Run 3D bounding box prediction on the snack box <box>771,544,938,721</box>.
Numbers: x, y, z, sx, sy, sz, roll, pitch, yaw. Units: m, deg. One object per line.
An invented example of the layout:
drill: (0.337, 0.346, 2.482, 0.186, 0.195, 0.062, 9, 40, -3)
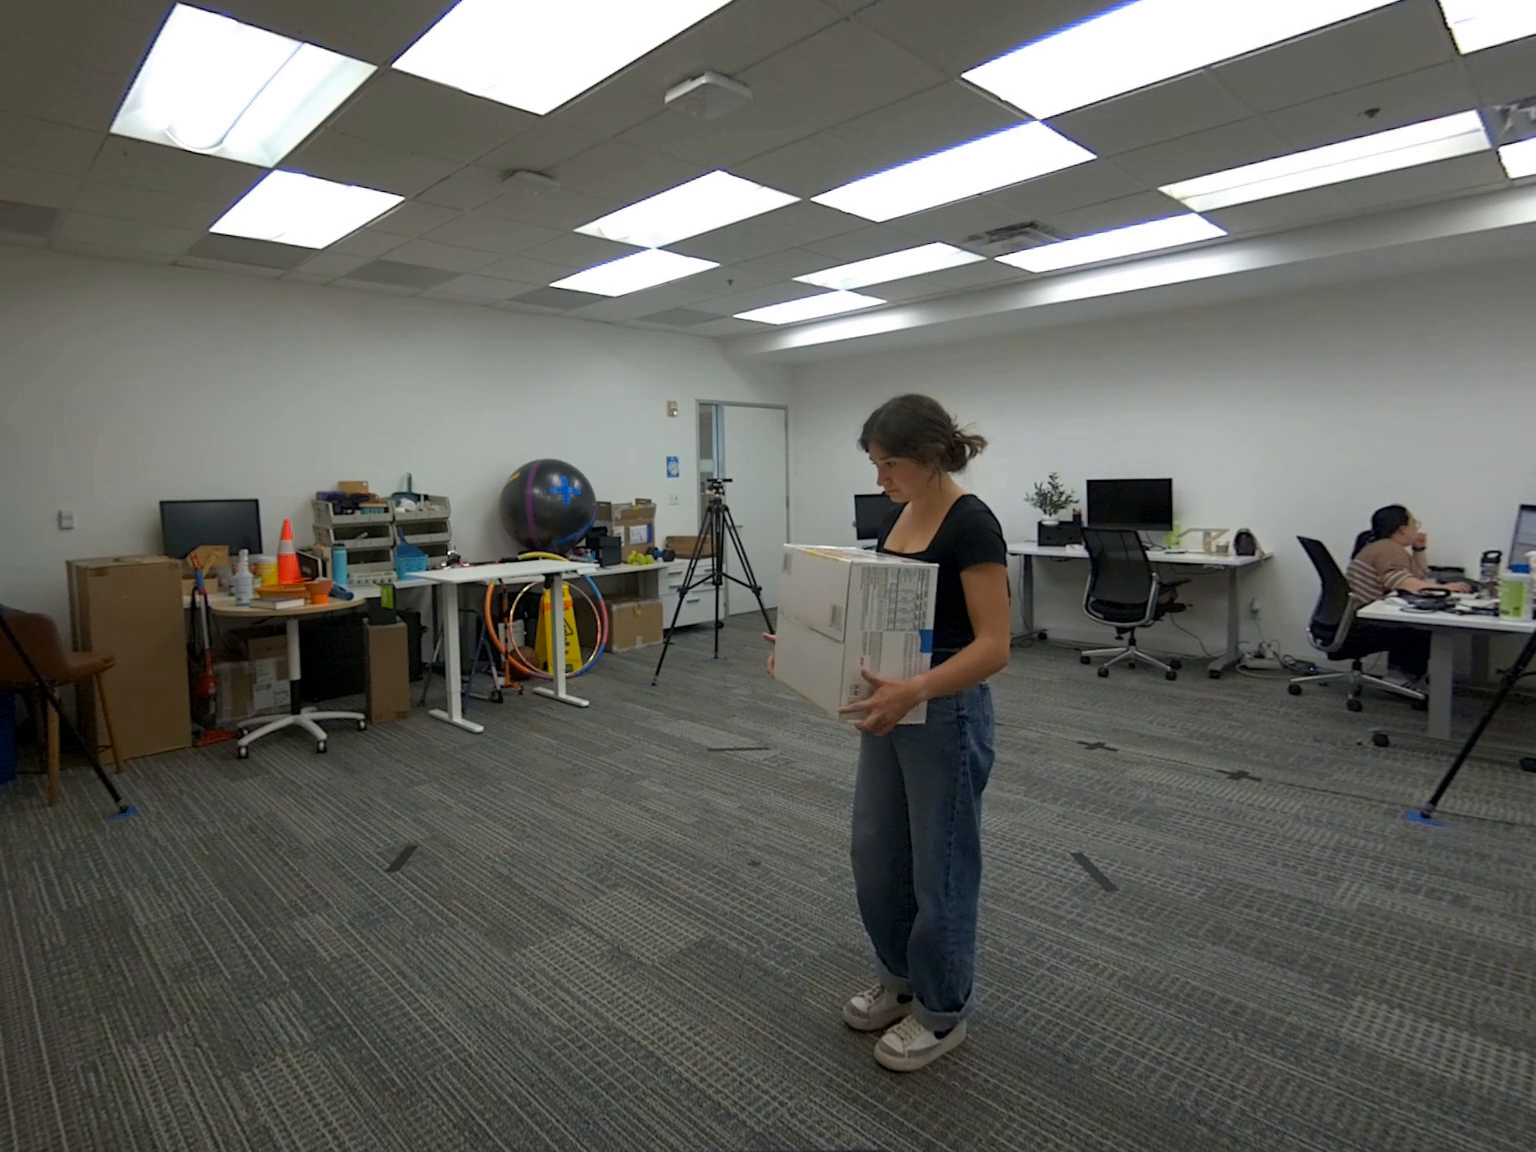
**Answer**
snack box: (0.193, 0.114, 1.954, 0.202, 0.339, 0.413, 2, 4, -19)
